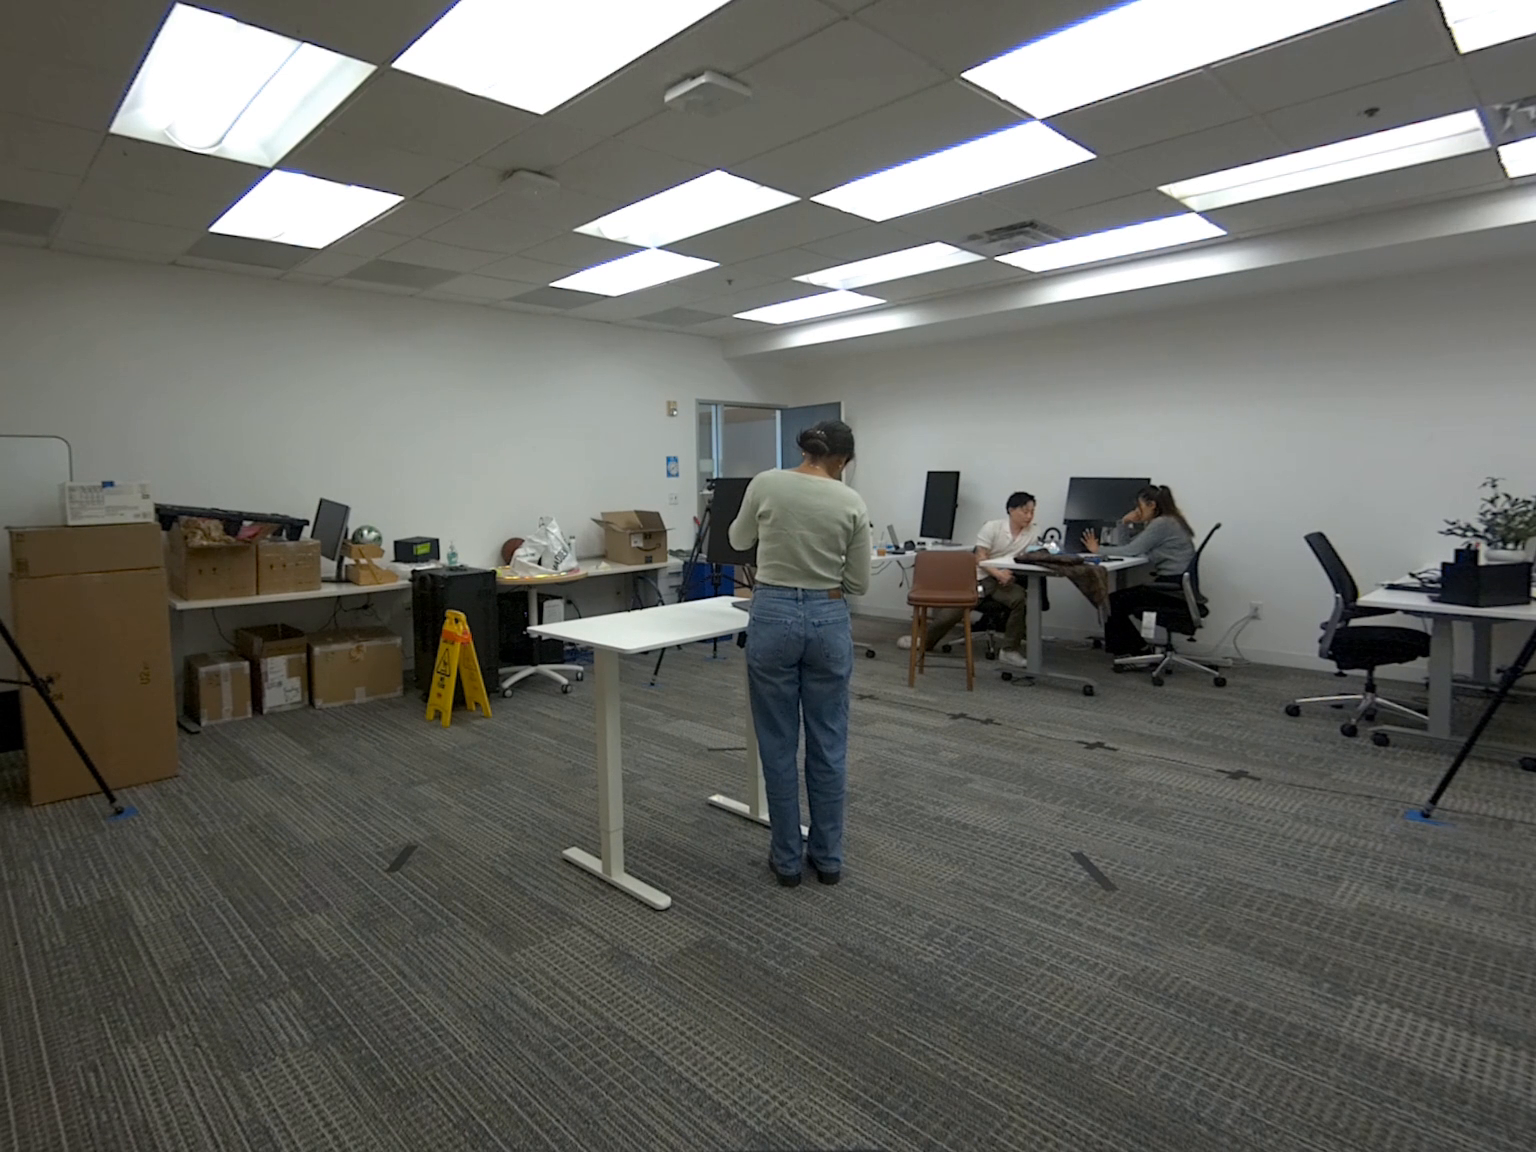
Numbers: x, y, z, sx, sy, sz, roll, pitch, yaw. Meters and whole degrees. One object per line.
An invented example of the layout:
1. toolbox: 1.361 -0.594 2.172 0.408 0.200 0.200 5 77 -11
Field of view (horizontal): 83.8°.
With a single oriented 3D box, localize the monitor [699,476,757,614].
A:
1. monitor: -0.012 -0.125 3.354 0.182 0.520 0.555 -8 8 -41
